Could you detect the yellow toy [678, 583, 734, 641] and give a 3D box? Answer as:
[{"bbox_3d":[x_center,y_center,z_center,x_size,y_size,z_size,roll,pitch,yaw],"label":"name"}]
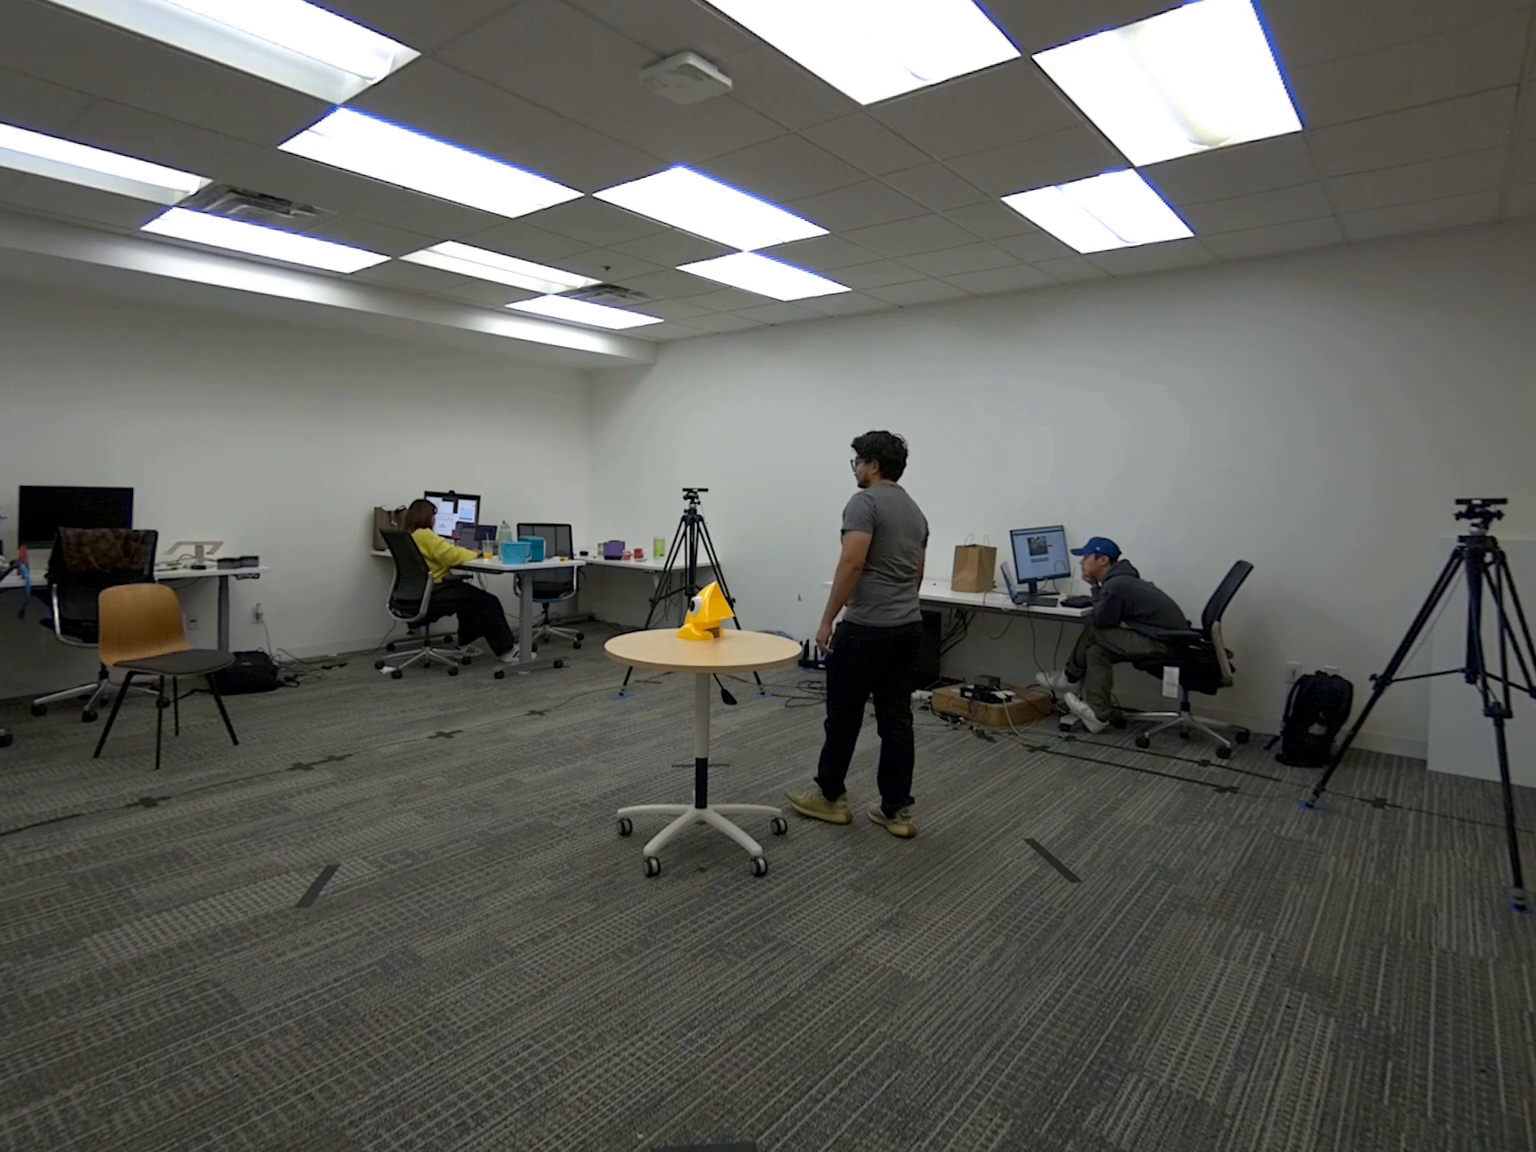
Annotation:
[{"bbox_3d":[-0.281,0.130,3.516,0.199,0.230,0.199,3,4,31],"label":"yellow toy"}]
